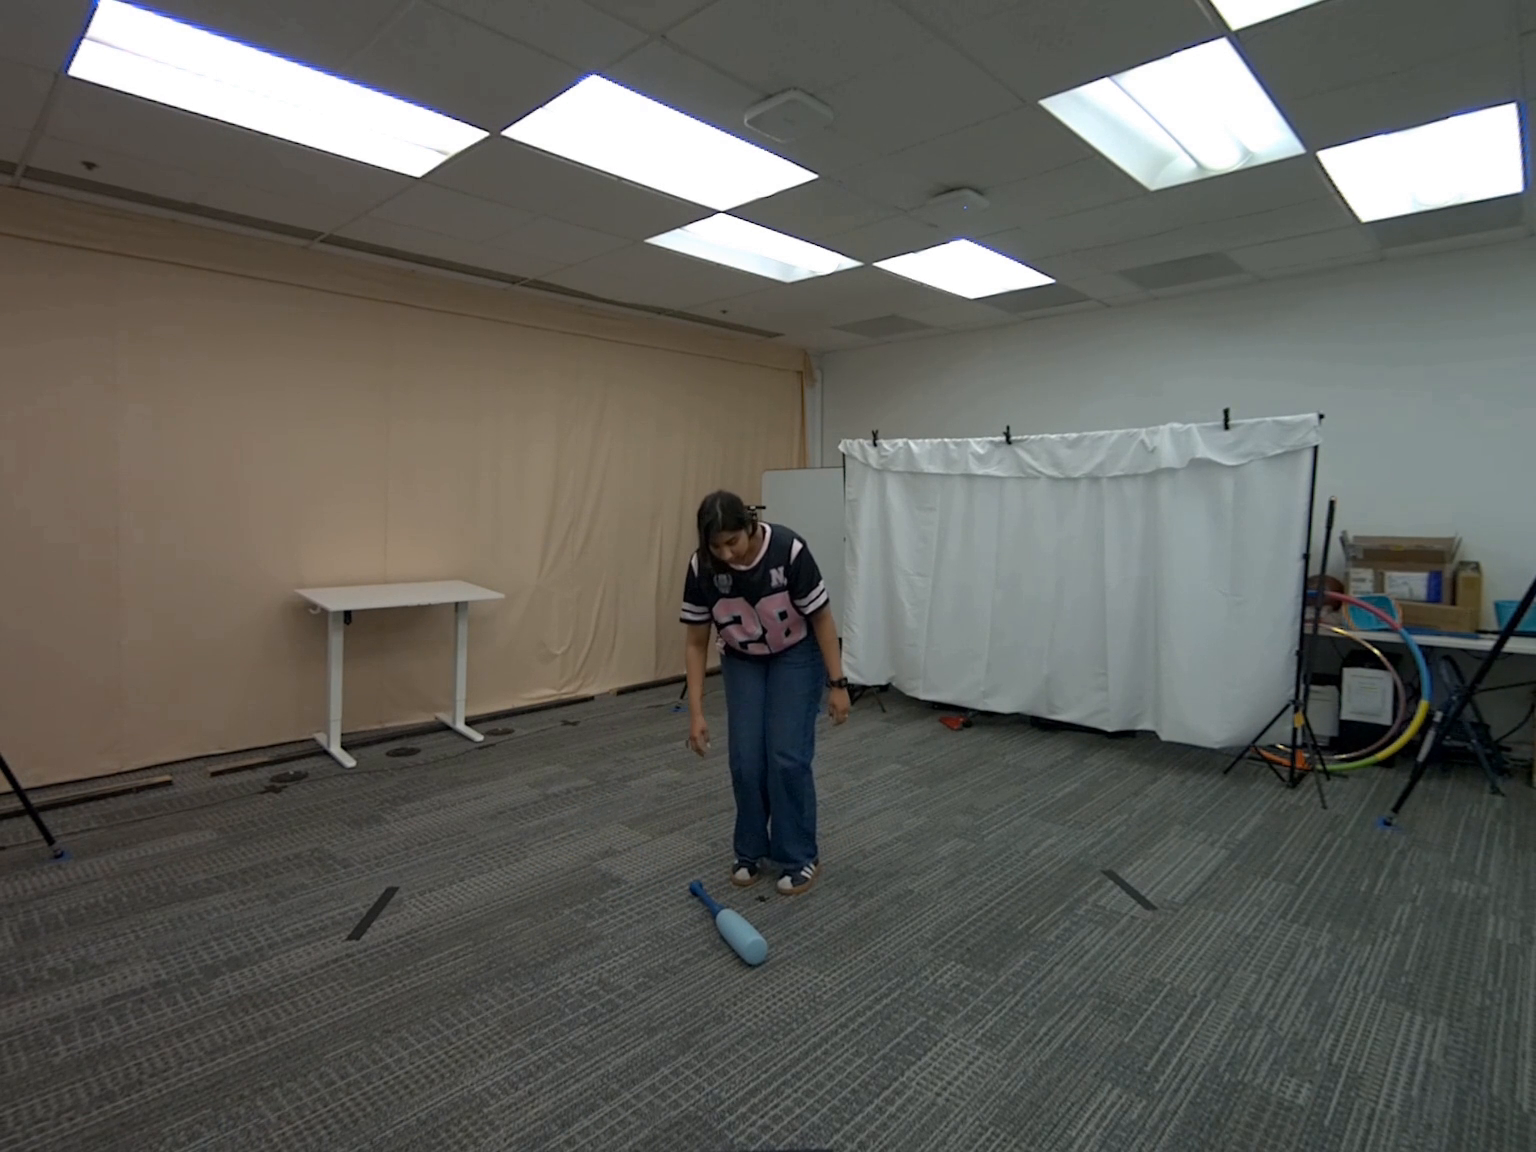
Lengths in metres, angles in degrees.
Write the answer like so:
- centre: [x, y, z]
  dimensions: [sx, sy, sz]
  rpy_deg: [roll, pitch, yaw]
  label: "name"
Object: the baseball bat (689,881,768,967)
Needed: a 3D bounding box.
- centre: [-0.139, 1.121, 2.774]
  dimensions: [0.087, 0.089, 0.555]
  rpy_deg: [-2, 1, -25]
  label: "baseball bat"
